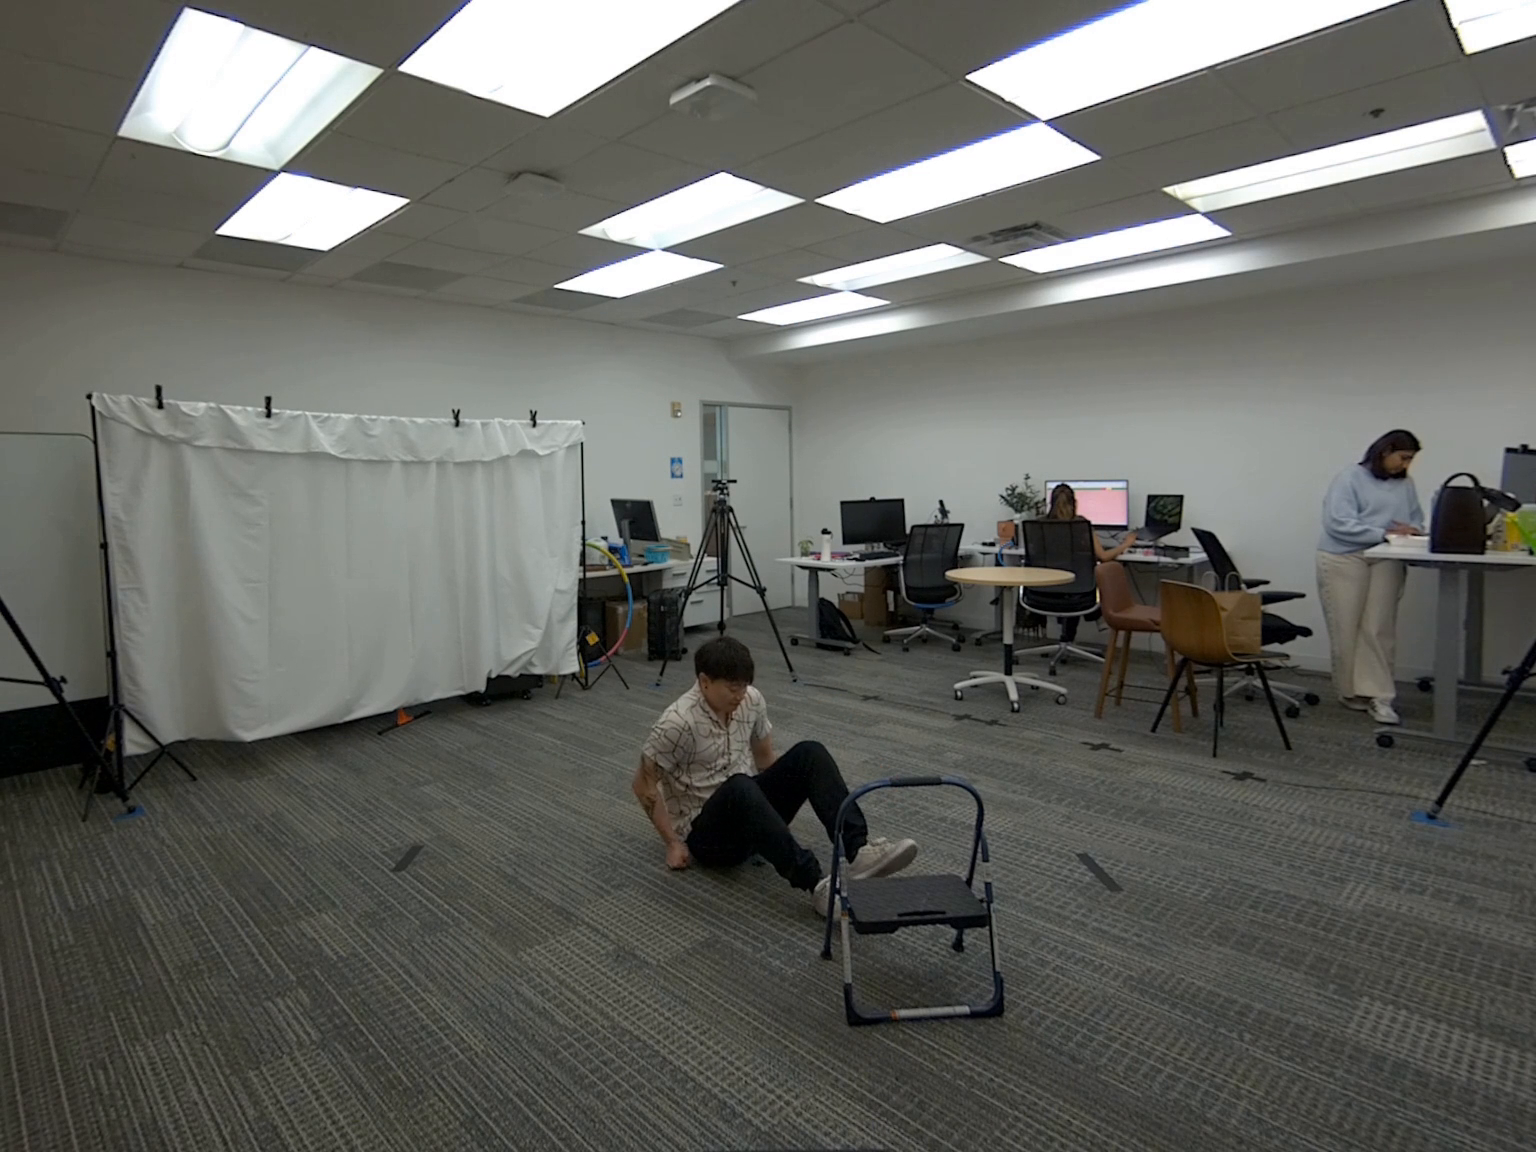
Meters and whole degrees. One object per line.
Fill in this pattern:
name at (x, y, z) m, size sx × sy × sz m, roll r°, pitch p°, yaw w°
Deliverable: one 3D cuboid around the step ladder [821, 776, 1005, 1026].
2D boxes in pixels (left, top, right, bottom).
step ladder at (0.390, 0.829, 2.339) m, size 0.428 × 0.604 × 0.352 m, roll -2°, pitch 4°, yaw -6°
